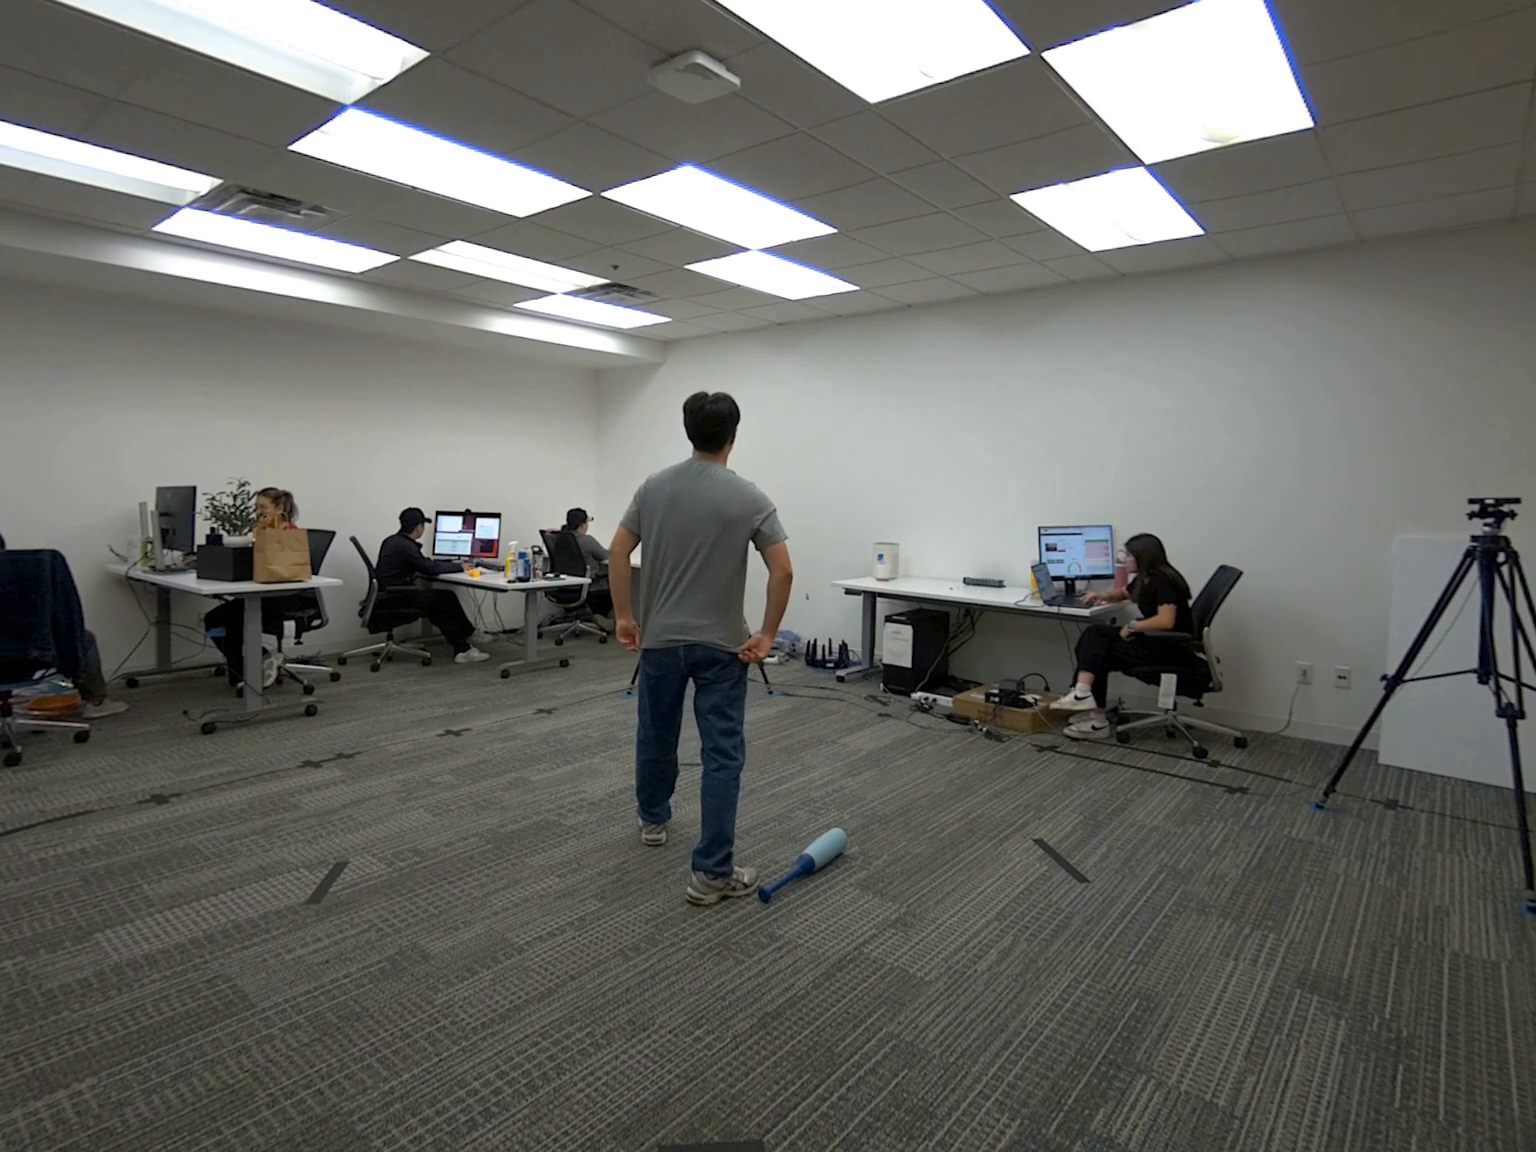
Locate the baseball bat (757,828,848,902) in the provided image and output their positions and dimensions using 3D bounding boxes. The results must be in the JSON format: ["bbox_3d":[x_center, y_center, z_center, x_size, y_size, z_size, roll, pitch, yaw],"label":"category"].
[{"bbox_3d":[0.125,1.040,3.068,0.092,0.088,0.529,4,9,34],"label":"baseball bat"}]
